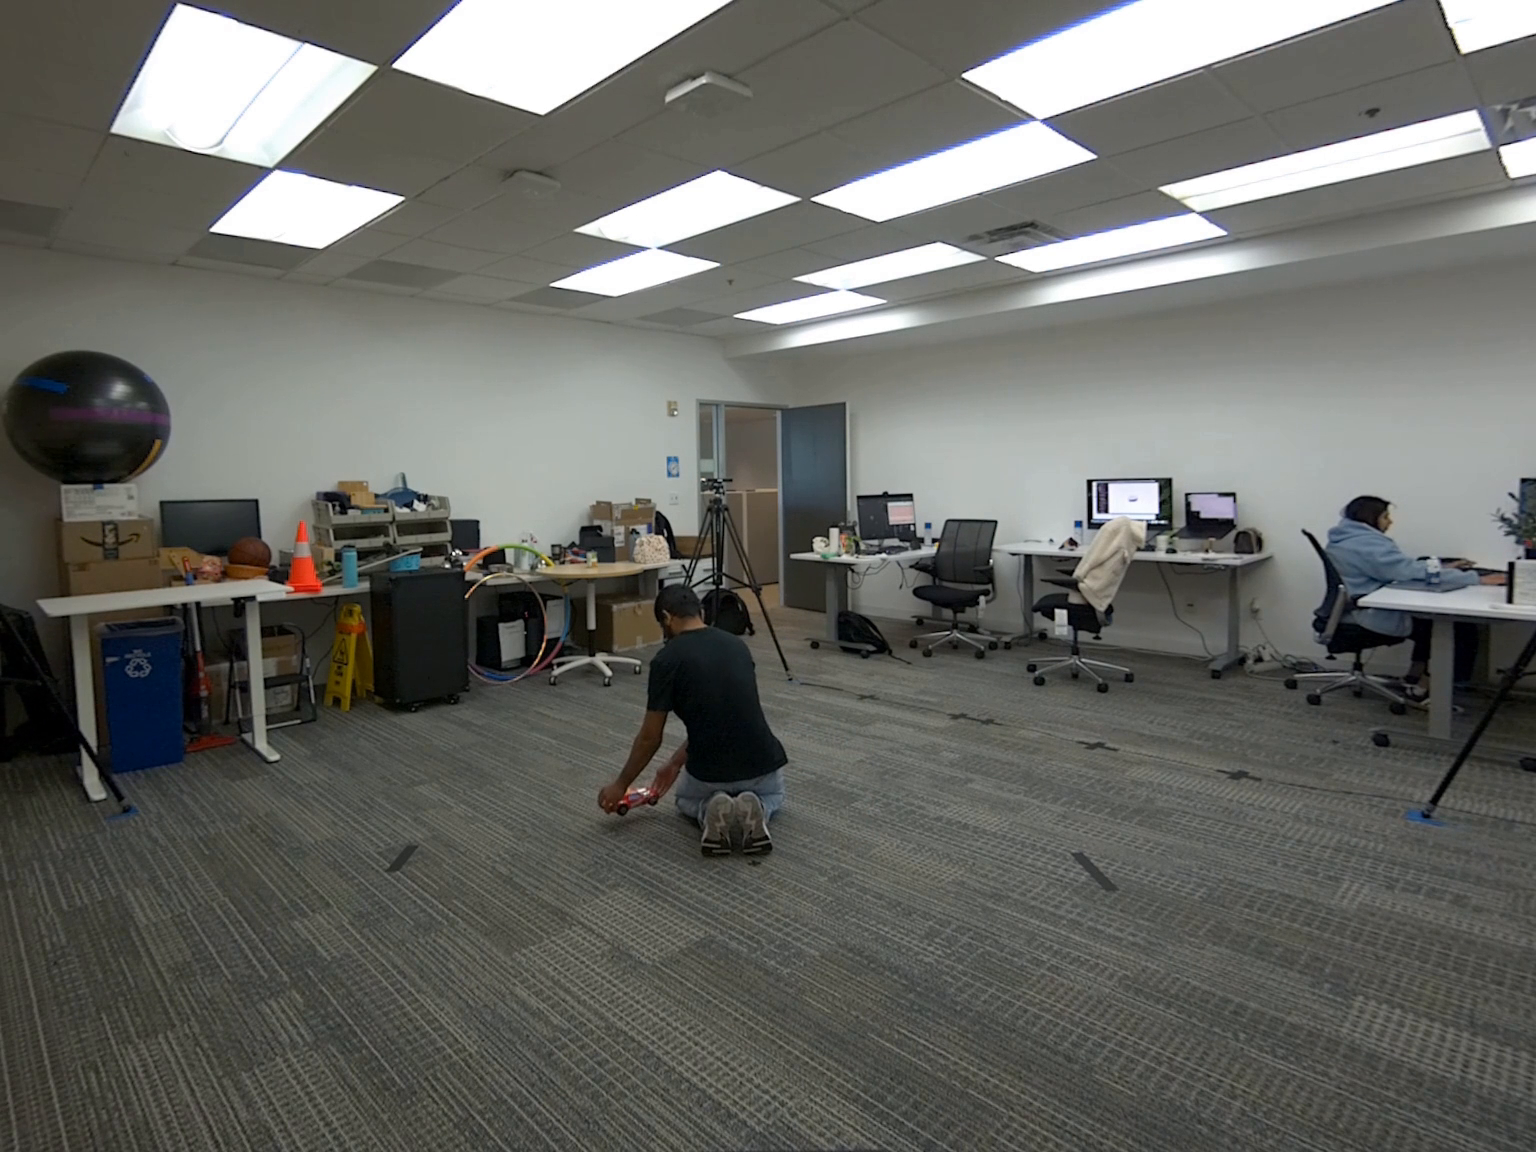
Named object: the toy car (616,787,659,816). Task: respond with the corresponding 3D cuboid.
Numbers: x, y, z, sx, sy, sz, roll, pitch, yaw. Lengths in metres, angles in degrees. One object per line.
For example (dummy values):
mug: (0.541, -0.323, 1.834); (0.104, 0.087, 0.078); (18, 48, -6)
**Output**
toy car: (-0.576, 0.921, 3.515); (0.247, 0.083, 0.134); (6, 2, -36)
